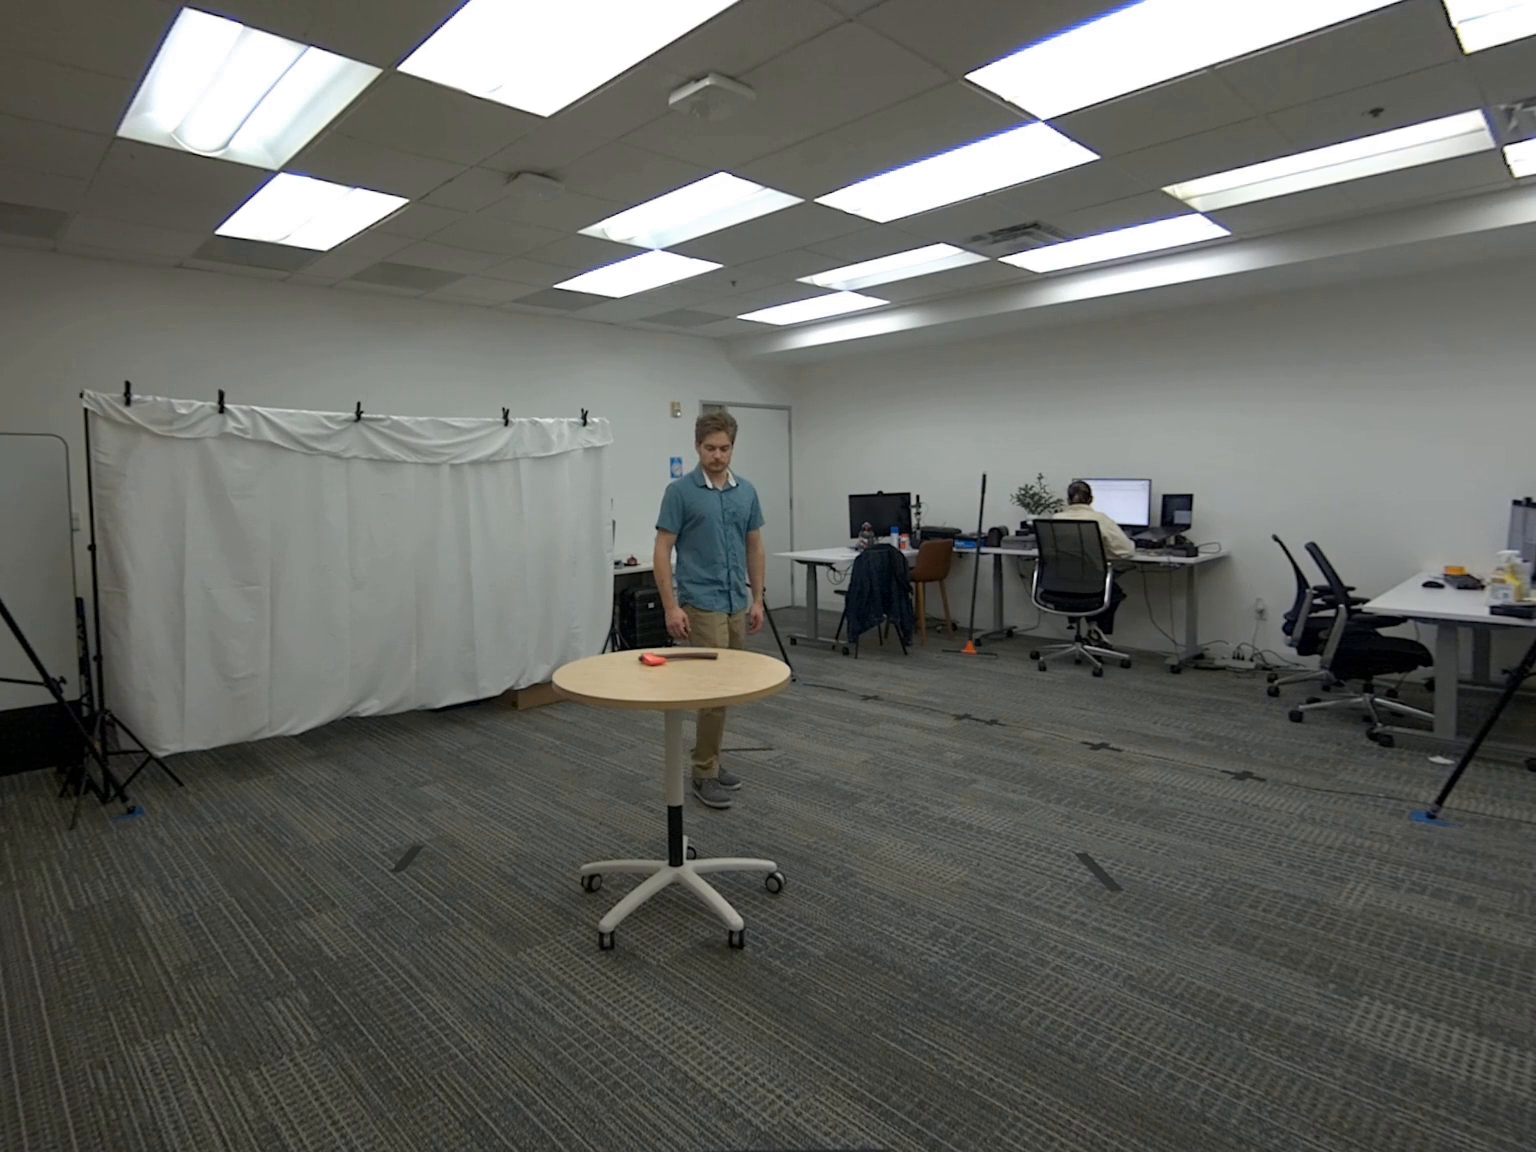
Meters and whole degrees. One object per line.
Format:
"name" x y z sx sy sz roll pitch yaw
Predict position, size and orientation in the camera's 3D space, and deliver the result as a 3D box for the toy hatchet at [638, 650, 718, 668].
"toy hatchet" -0.304 0.283 2.897 0.270 0.029 0.132 0 7 -2
